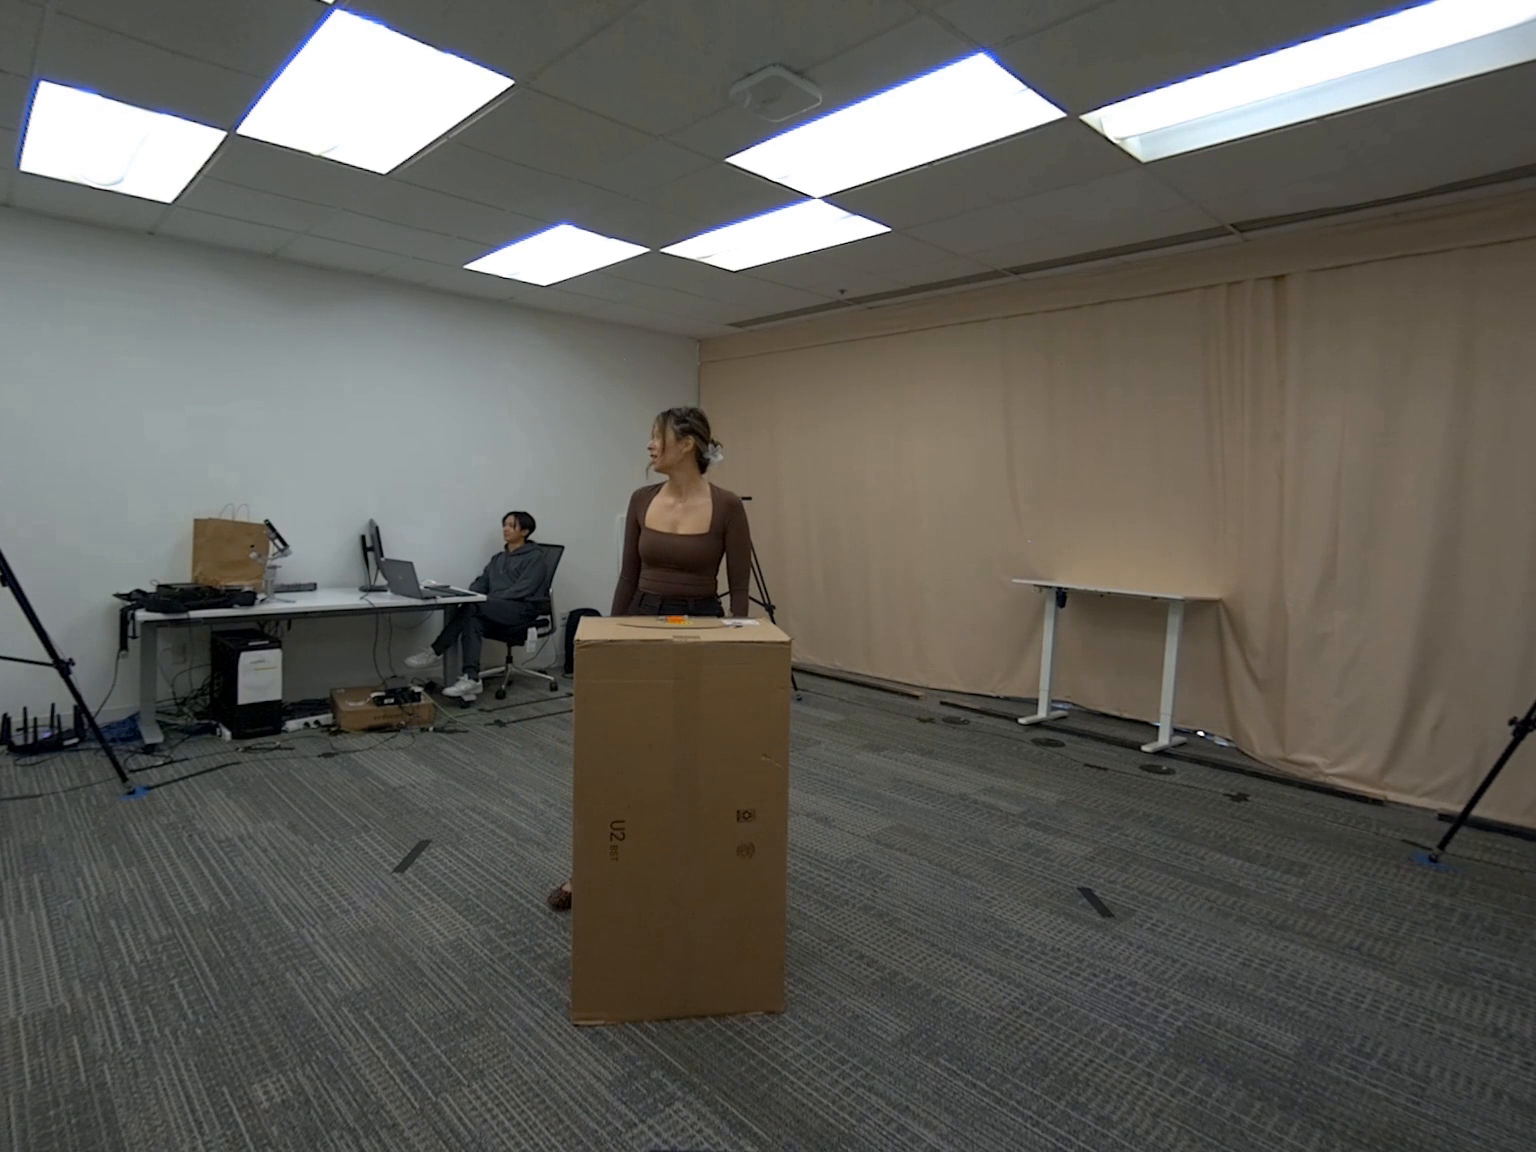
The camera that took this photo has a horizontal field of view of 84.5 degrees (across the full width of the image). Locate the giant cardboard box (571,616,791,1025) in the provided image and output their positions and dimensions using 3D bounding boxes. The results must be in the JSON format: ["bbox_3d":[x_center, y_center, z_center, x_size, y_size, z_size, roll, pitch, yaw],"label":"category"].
[{"bbox_3d":[-0.267,0.652,2.419,0.580,1.024,0.451,1,4,-8],"label":"giant cardboard box"}]
